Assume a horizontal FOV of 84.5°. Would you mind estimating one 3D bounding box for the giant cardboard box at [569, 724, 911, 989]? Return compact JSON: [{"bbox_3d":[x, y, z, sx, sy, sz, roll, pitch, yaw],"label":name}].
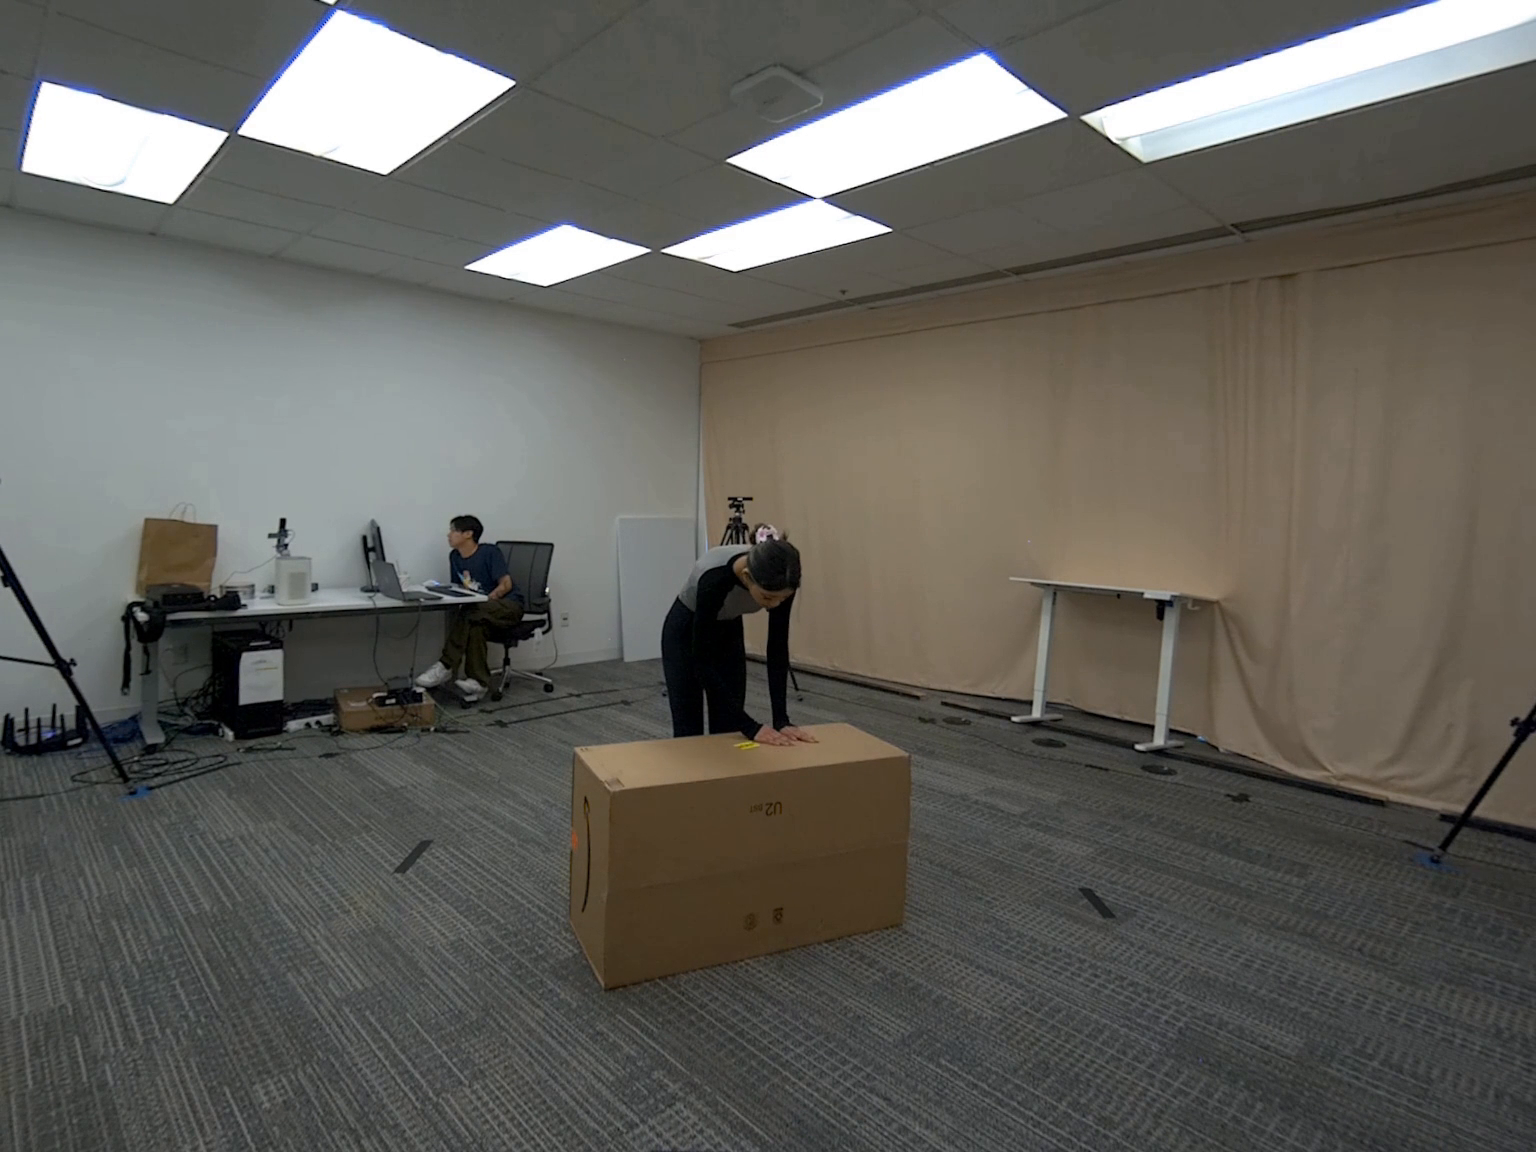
[{"bbox_3d":[-0.091,0.856,2.740,1.008,0.576,0.435,0,4,-24],"label":"giant cardboard box"}]
